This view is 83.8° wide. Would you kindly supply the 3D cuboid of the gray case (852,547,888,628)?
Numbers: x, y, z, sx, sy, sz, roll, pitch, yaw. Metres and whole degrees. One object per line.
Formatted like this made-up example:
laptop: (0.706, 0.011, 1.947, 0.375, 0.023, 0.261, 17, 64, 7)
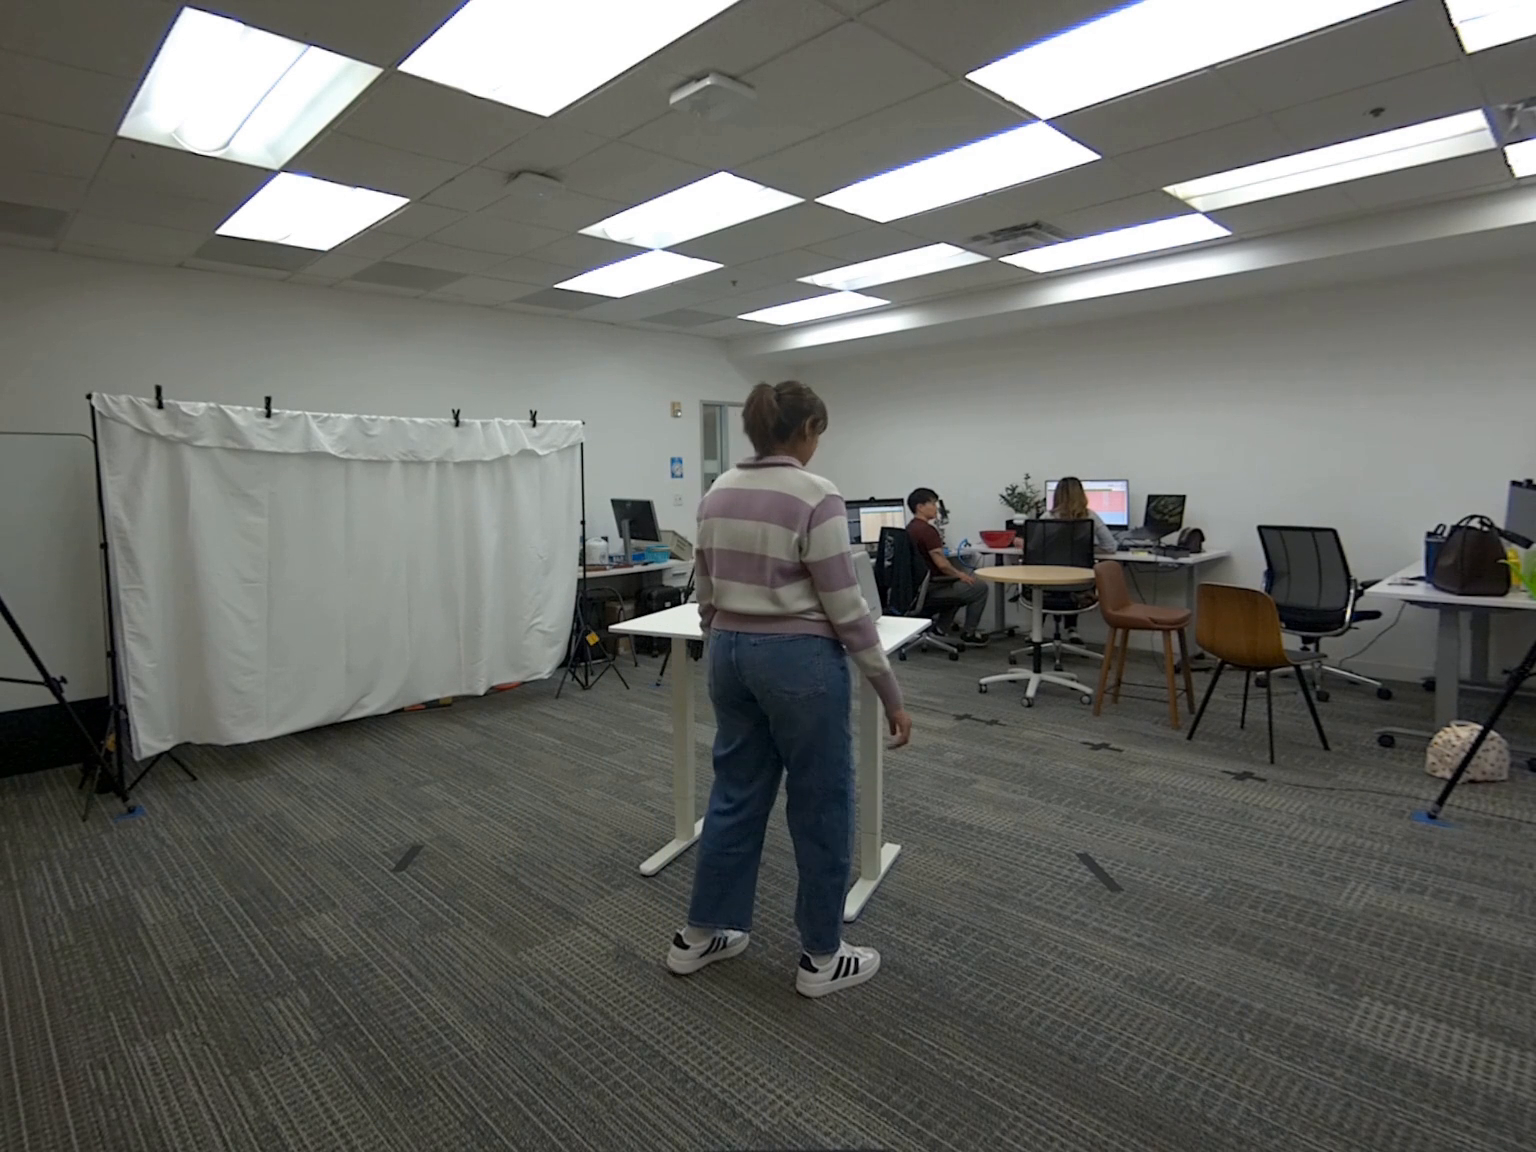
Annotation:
gray case: (0.313, 0.046, 2.960, 0.106, 0.261, 0.253, -11, 1, 18)
